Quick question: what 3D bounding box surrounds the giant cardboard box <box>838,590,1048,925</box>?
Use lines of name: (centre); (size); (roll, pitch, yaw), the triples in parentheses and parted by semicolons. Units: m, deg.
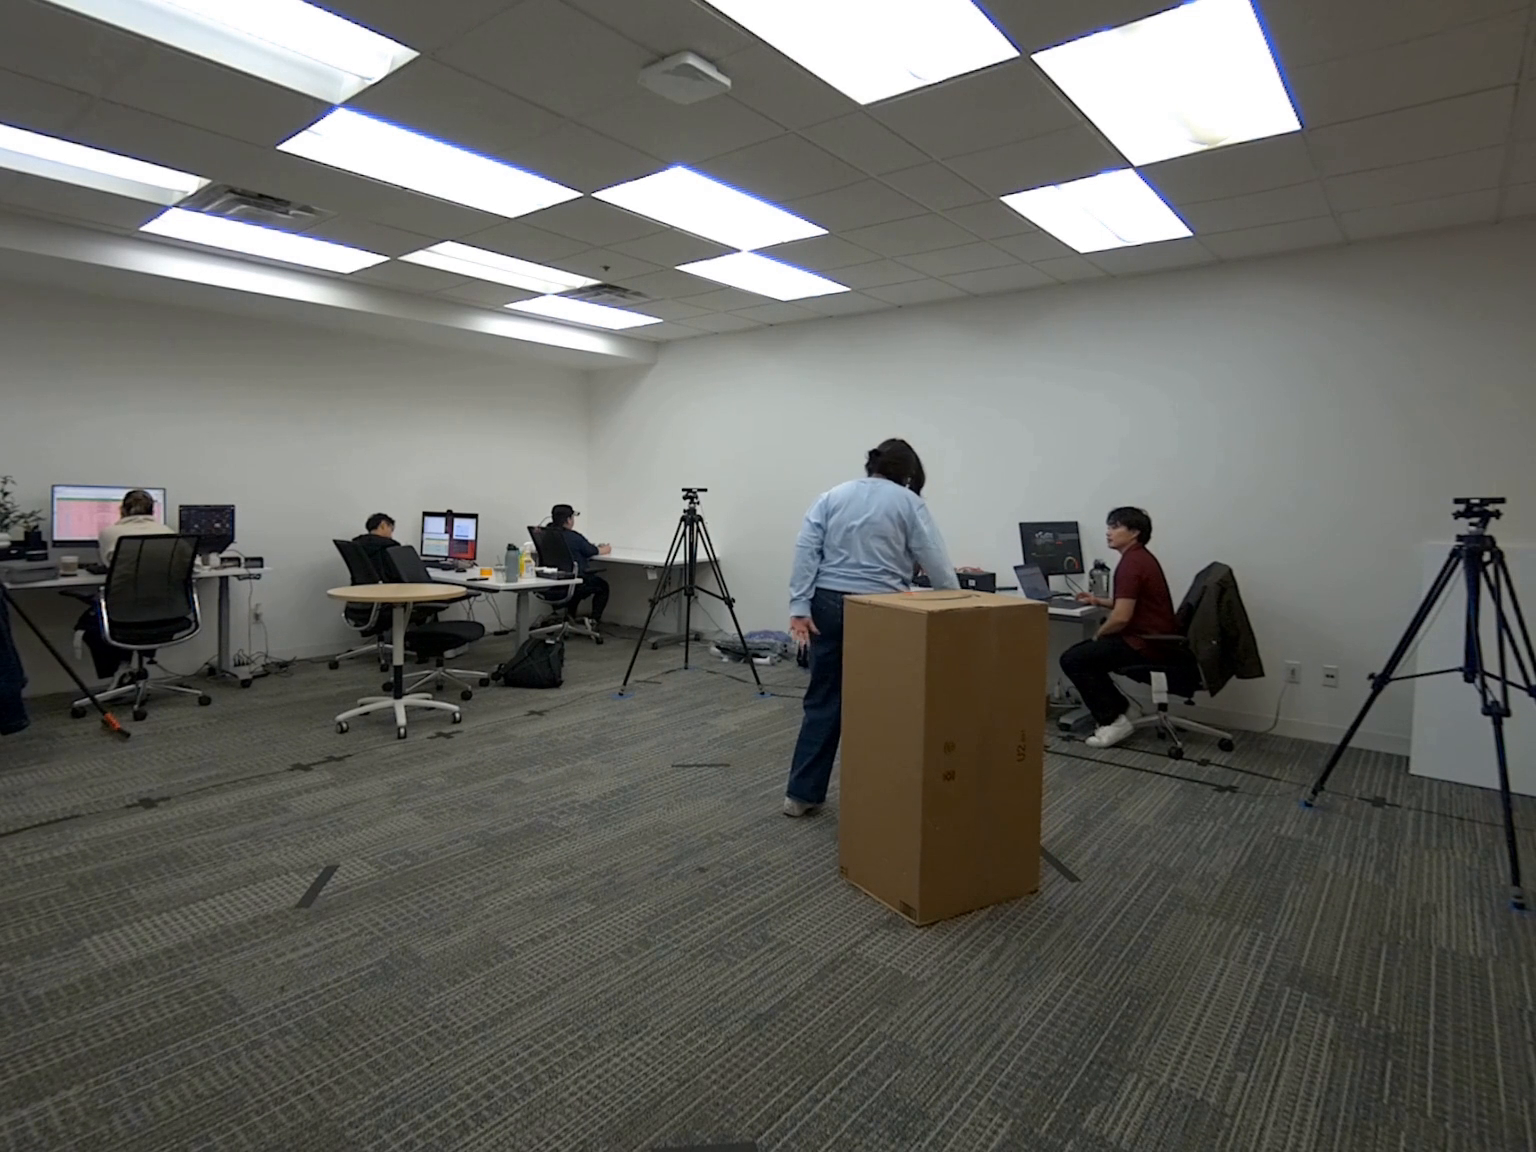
giant cardboard box: (0.608, 0.585, 3.021); (0.562, 1.023, 0.439); (-1, 3, -31)
